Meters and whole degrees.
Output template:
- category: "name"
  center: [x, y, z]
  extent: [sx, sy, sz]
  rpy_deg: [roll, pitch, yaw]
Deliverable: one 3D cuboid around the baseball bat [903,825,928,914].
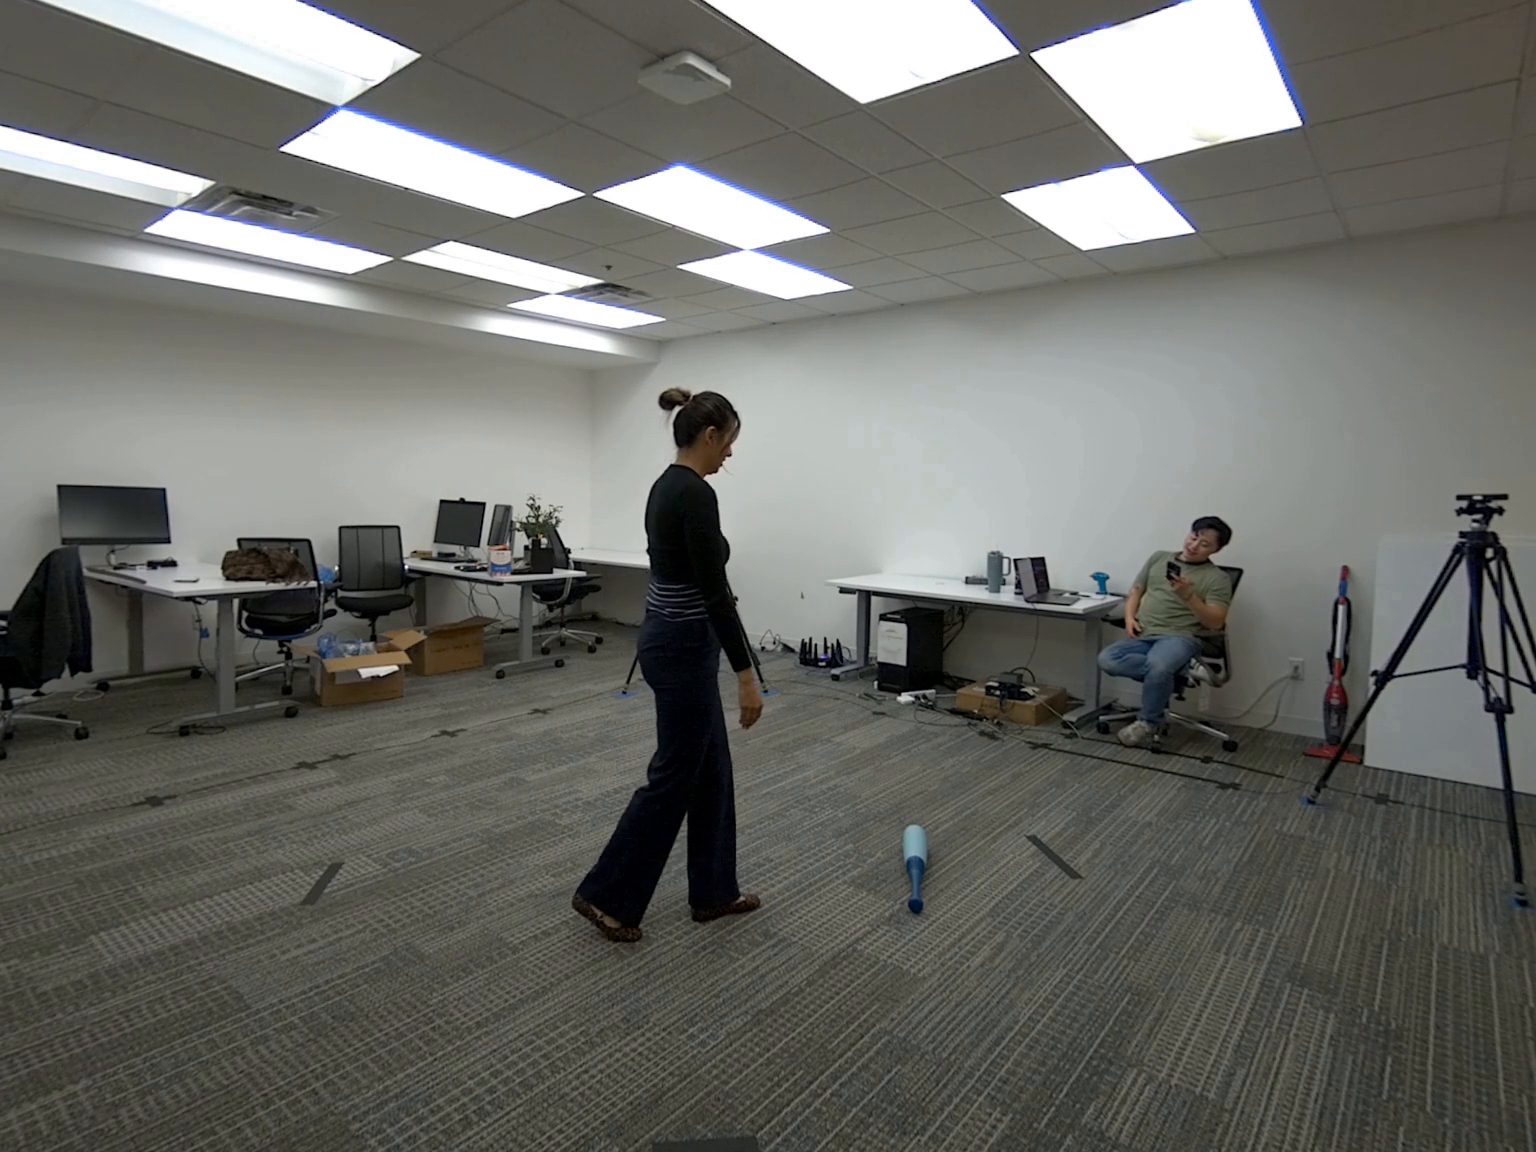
- category: "baseball bat"
  center: [0.524, 1.048, 3.061]
  extent: [0.090, 0.088, 0.541]
  rpy_deg: [1, 10, 8]
